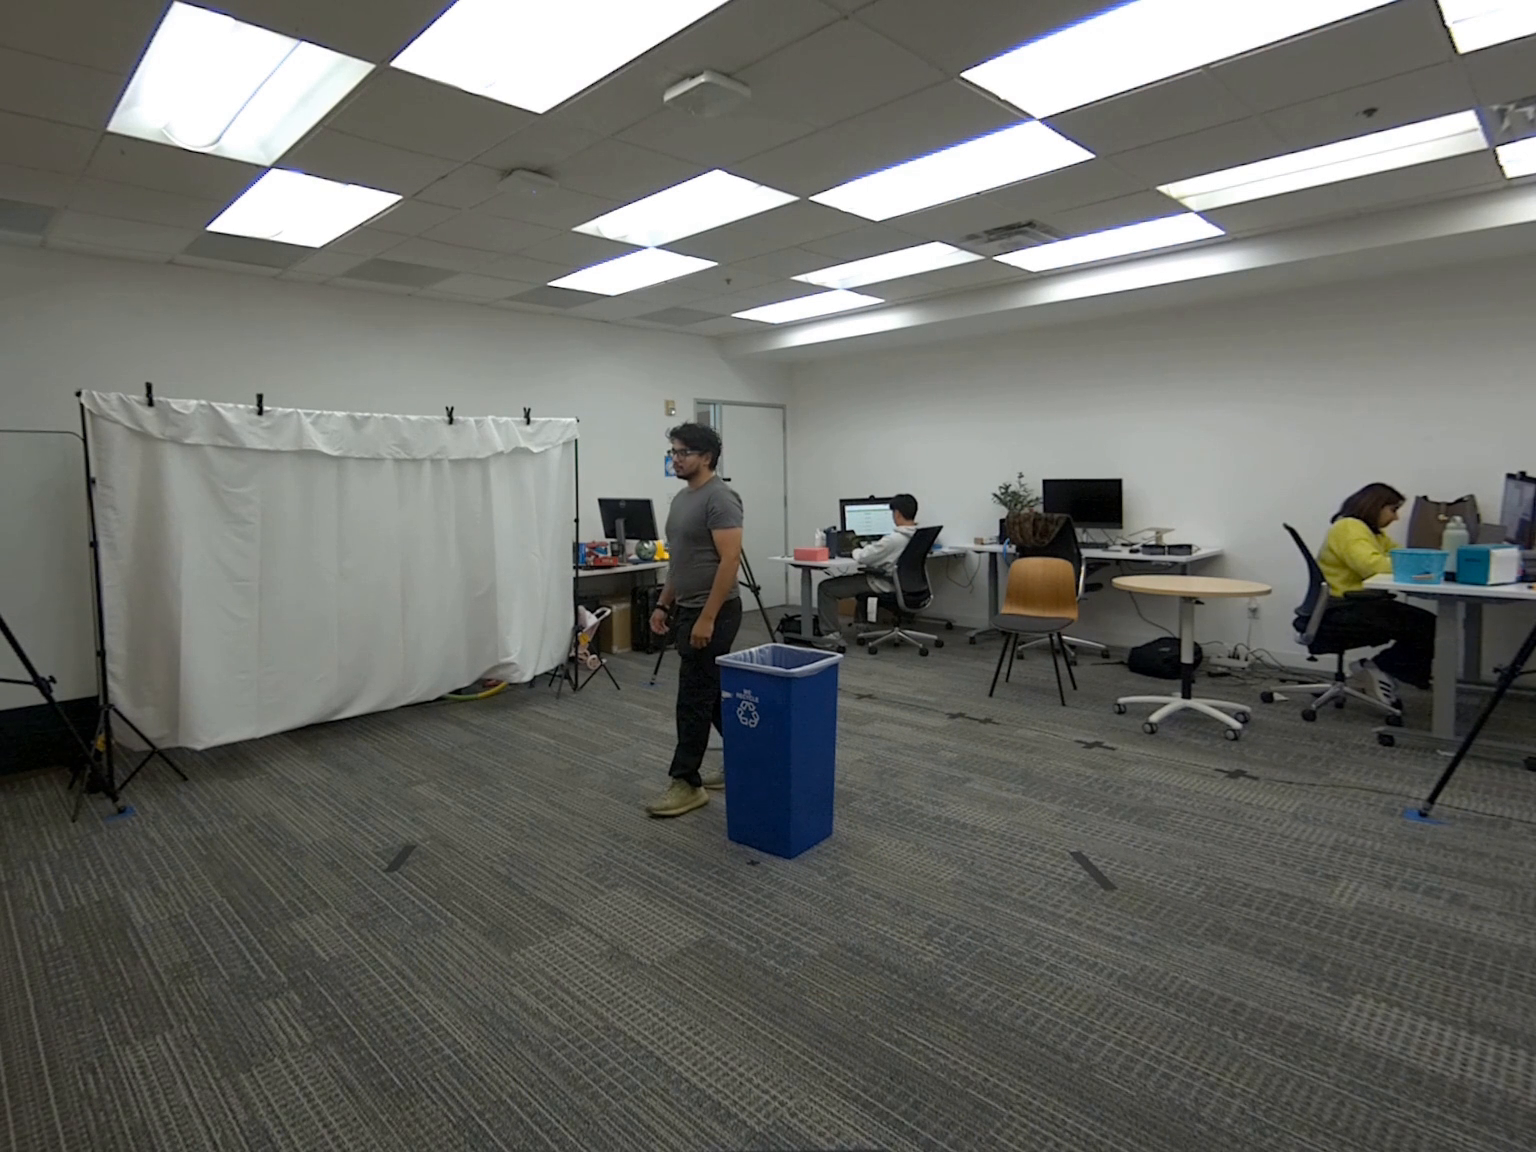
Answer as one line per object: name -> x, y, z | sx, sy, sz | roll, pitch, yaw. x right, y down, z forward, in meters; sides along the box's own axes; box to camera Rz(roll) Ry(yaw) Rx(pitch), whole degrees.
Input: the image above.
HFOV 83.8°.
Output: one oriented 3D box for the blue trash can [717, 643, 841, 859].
blue trash can -> 0.056, 0.660, 3.302 | 0.385, 0.711, 0.368 | 2, 5, 38
